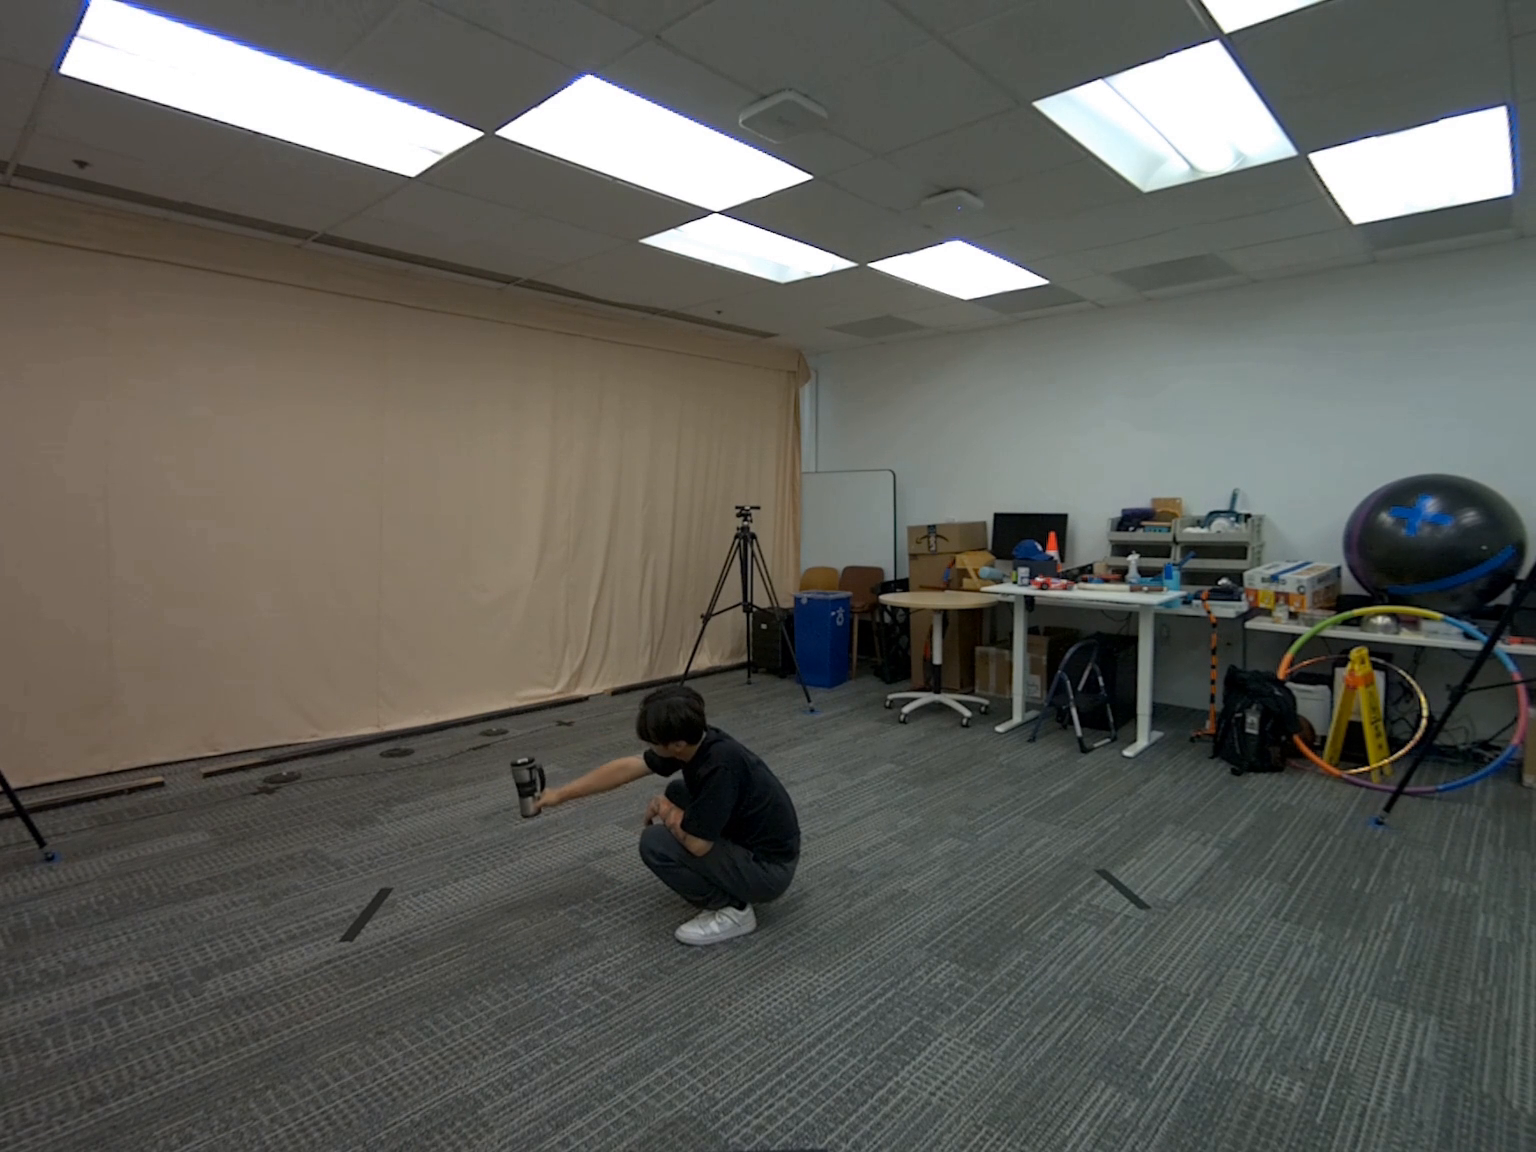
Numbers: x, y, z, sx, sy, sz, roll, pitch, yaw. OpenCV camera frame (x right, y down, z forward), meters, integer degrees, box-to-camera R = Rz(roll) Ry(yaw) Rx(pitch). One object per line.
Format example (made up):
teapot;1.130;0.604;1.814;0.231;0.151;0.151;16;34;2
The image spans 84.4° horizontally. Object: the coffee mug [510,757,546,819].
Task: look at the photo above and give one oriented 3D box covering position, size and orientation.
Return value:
coffee mug;-0.833;0.747;2.956;0.125;0.203;0.085;-8;1;39
